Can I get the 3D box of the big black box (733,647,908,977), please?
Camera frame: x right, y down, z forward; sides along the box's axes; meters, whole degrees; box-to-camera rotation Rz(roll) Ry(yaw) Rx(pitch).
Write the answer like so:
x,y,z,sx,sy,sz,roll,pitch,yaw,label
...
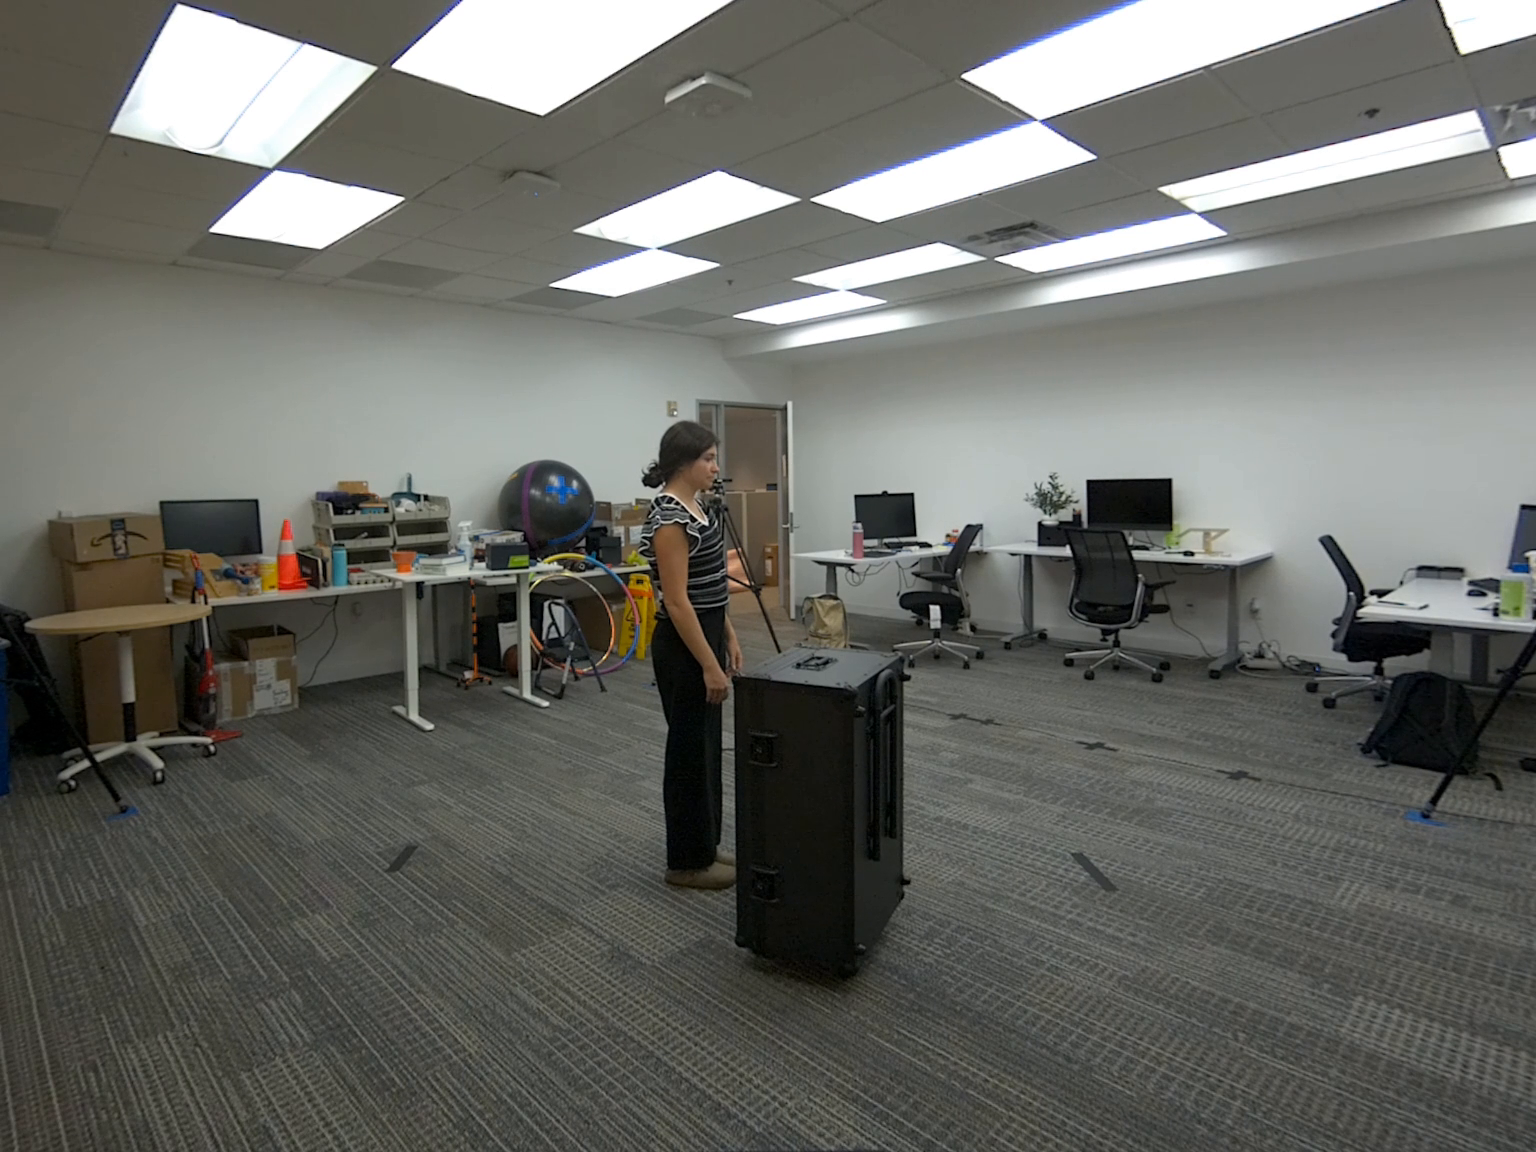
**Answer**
x,y,z,sx,sy,sz,roll,pitch,yaw,label
0.181,0.686,2.535,0.406,0.857,0.511,2,6,26,big black box
